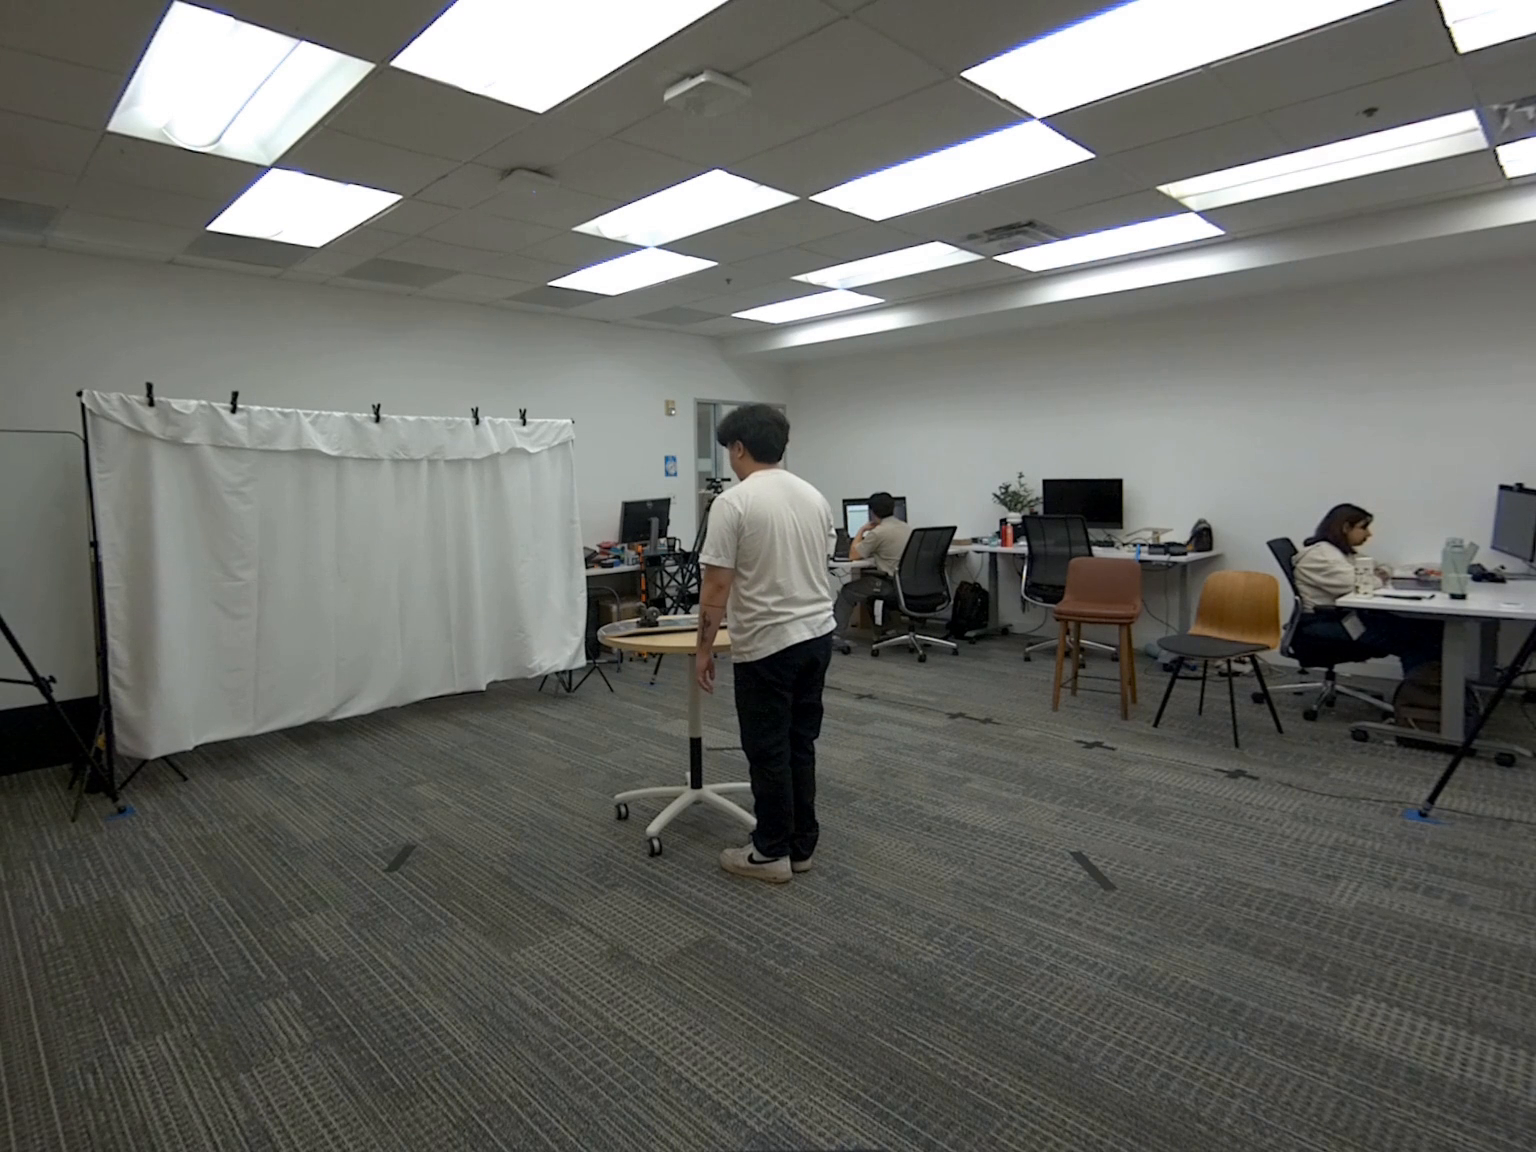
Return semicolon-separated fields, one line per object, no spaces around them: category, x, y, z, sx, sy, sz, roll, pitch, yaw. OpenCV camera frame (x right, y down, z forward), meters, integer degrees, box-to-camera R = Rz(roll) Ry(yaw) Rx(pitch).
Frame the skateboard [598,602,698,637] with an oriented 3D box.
skateboard;-0.302;0.161;3.472;0.769;0.110;0.198;-4;5;-25
